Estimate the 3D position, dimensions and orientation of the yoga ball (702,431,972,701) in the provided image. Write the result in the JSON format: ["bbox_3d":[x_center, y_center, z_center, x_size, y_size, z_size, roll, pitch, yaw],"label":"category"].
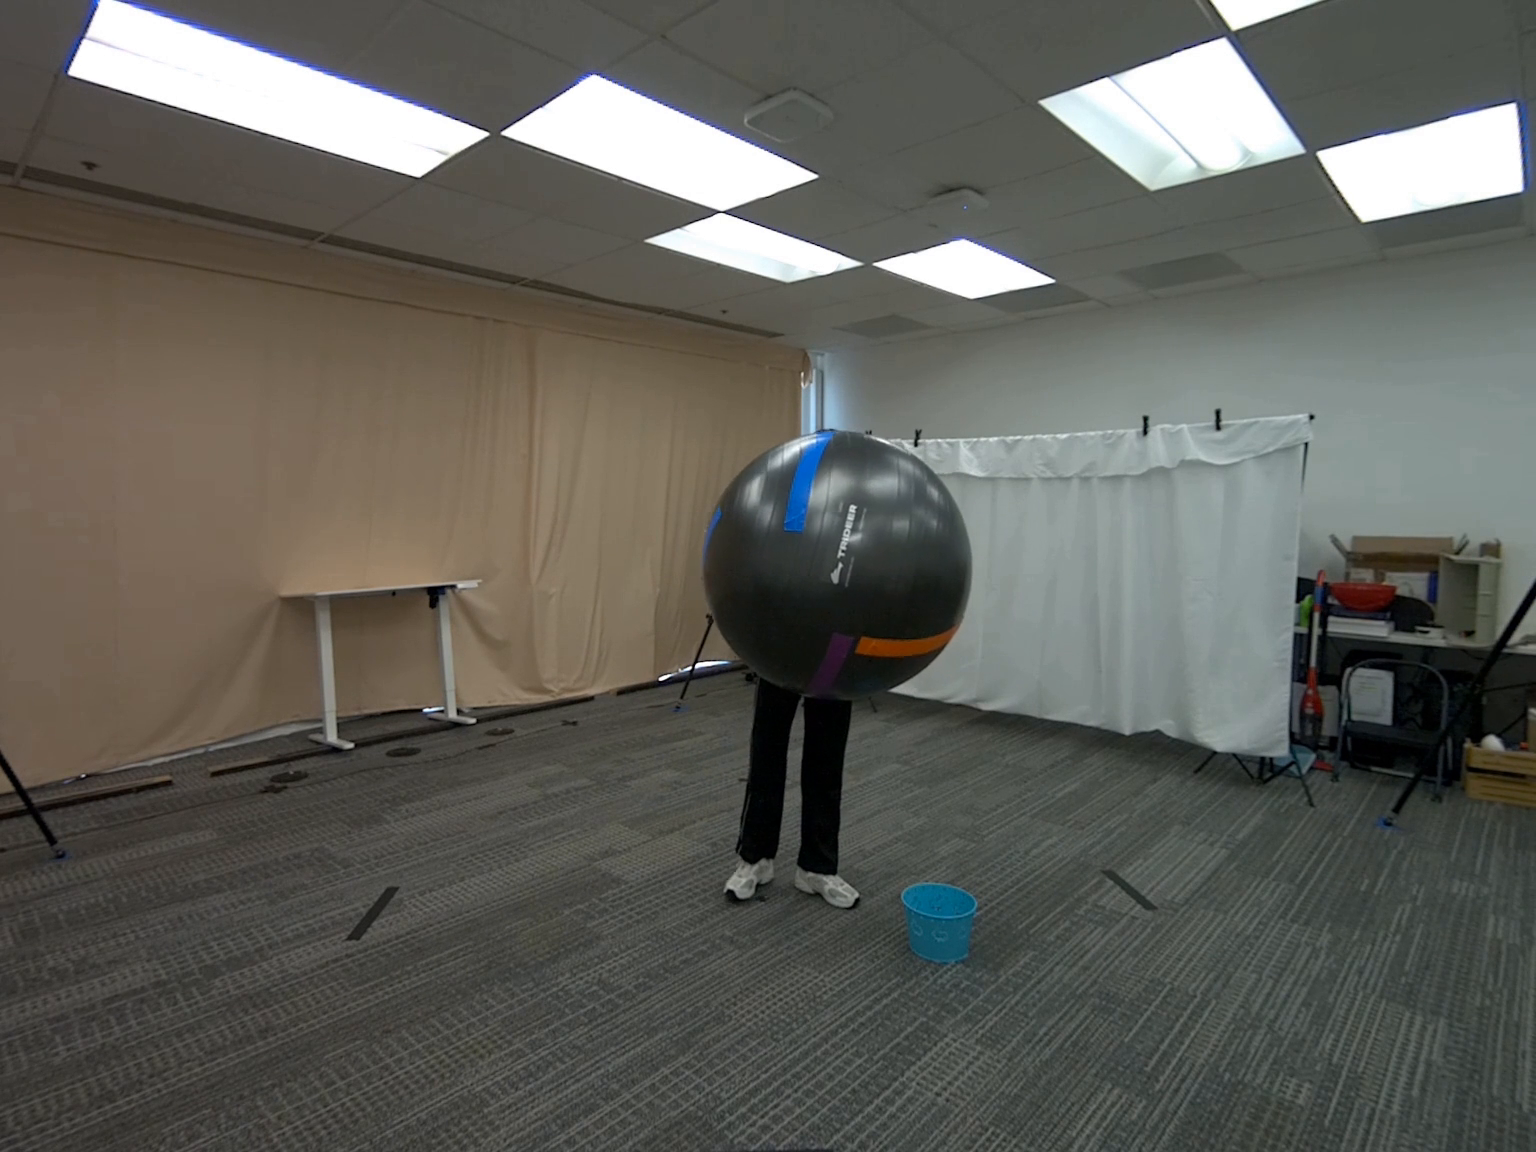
[{"bbox_3d":[0.187,-0.025,2.394,0.757,0.756,0.760,0,4,-2],"label":"yoga ball"}]
